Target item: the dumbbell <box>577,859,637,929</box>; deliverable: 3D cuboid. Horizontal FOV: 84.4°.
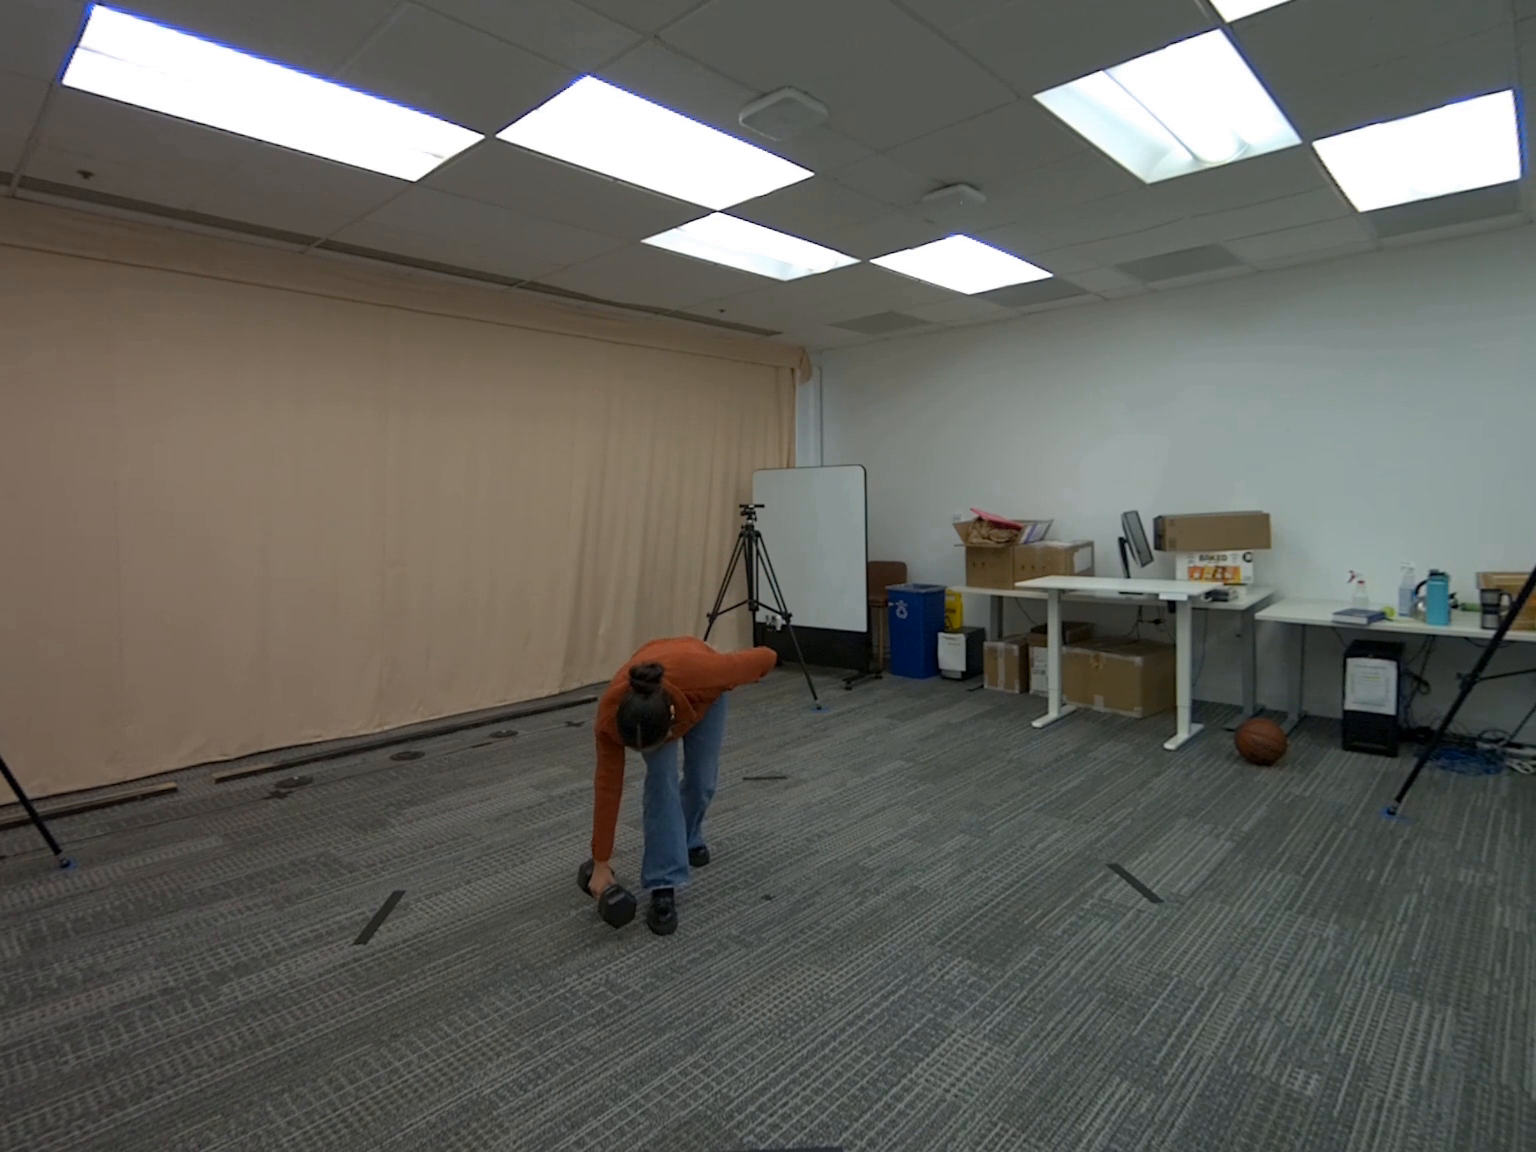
[{"bbox_3d":[-0.534,1.051,2.792,0.105,0.123,0.302,11,1,-30],"label":"dumbbell"}]
